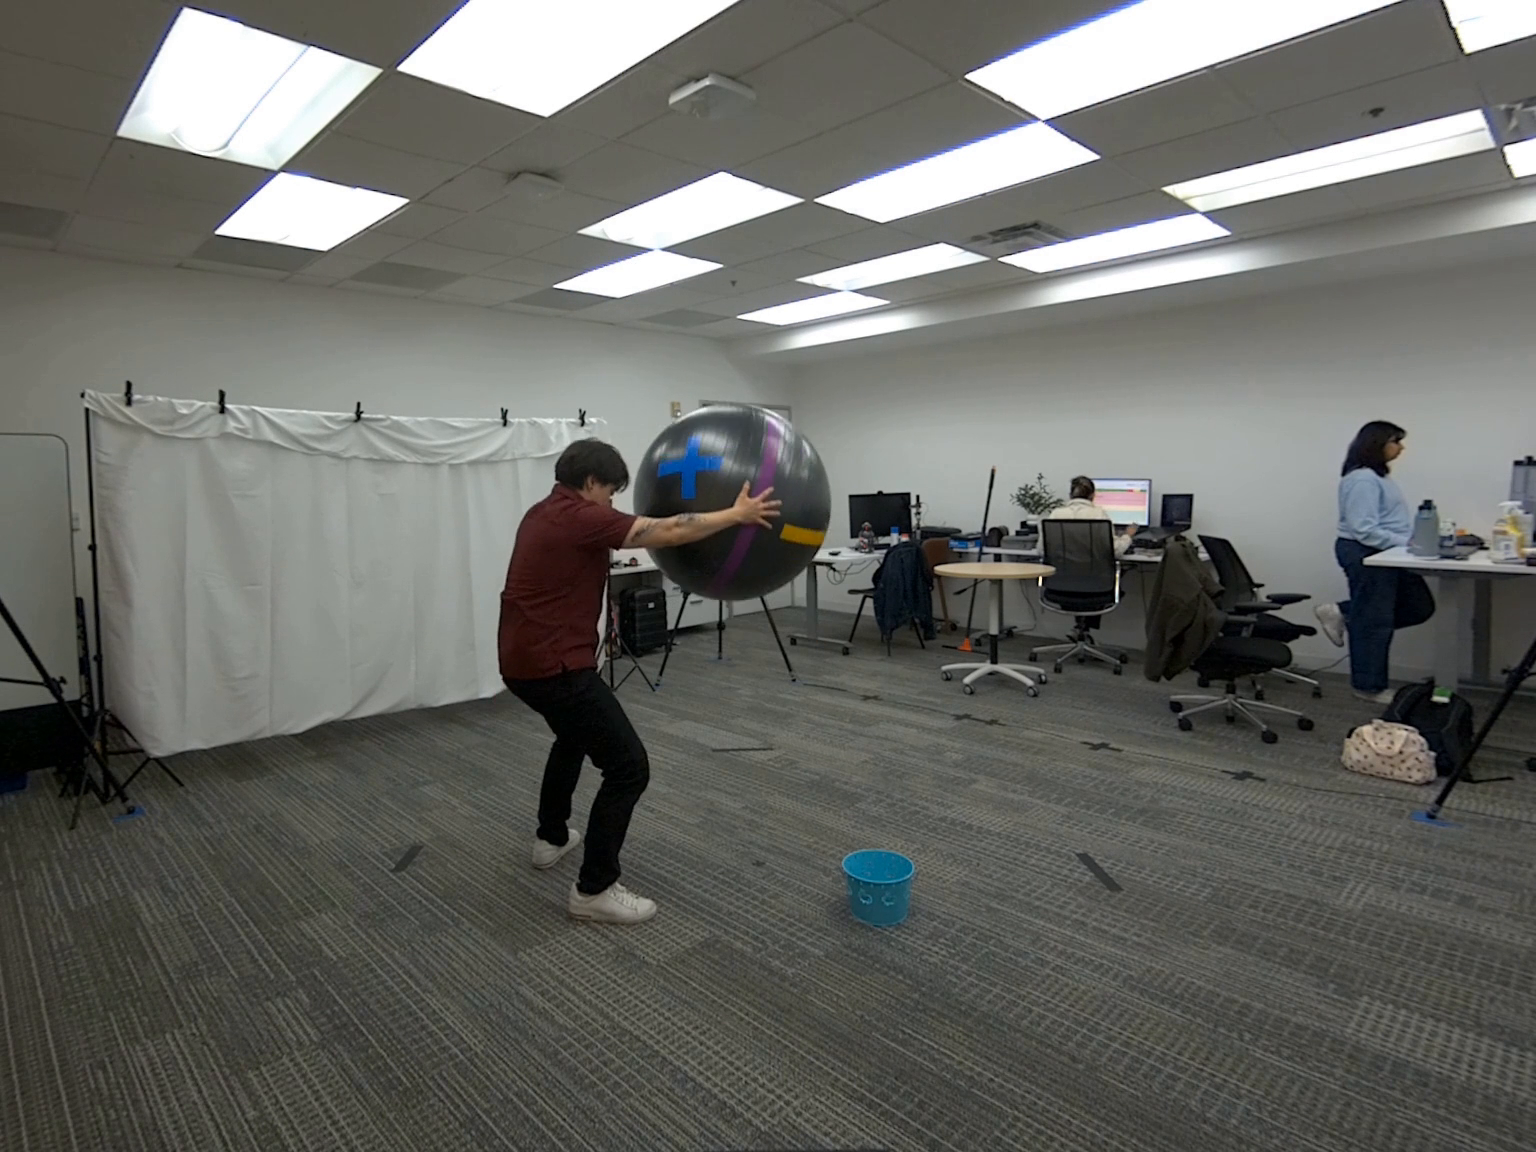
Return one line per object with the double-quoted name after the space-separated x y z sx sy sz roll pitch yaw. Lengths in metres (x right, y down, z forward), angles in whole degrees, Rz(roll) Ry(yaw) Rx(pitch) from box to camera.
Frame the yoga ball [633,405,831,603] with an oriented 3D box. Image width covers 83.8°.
-0.144 -0.277 3.297 0.757 0.755 0.762 -1 5 -2 "yoga ball"
